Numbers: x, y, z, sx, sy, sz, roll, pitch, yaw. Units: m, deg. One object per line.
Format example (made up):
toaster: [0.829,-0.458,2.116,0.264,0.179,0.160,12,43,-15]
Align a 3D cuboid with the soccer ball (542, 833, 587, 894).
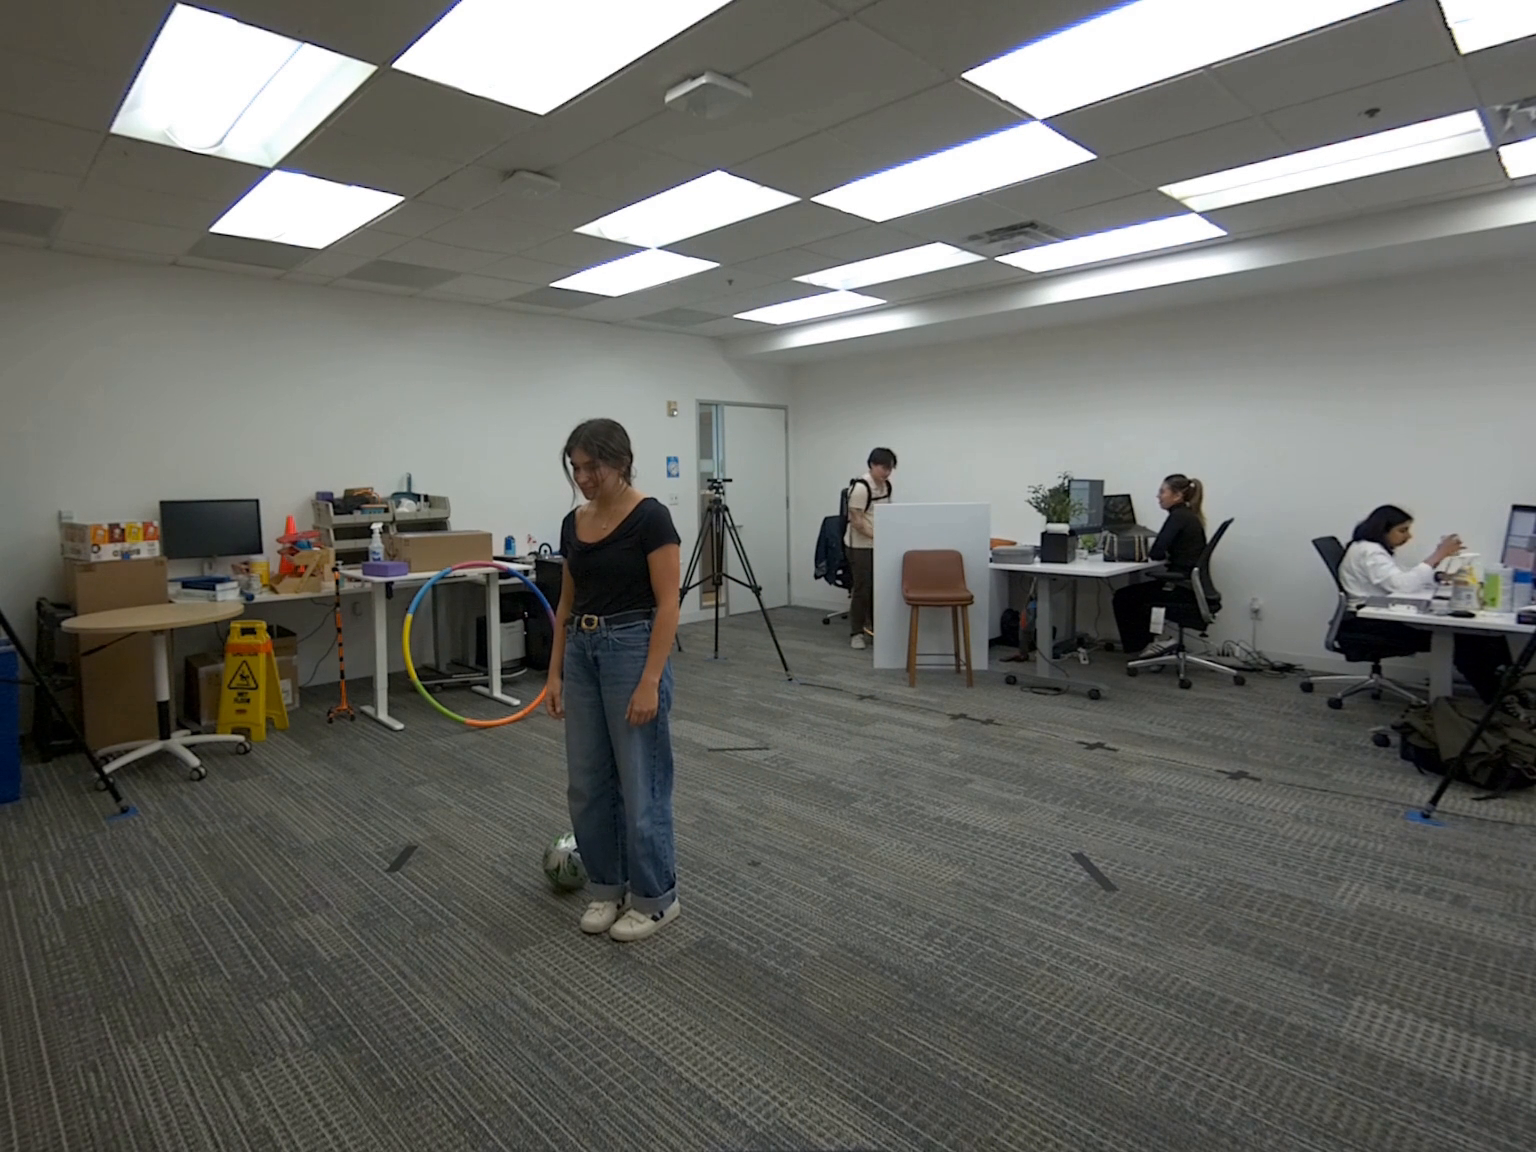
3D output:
soccer ball: [-0.673,0.986,2.953,0.187,0.187,0.188,-1,5,-2]
